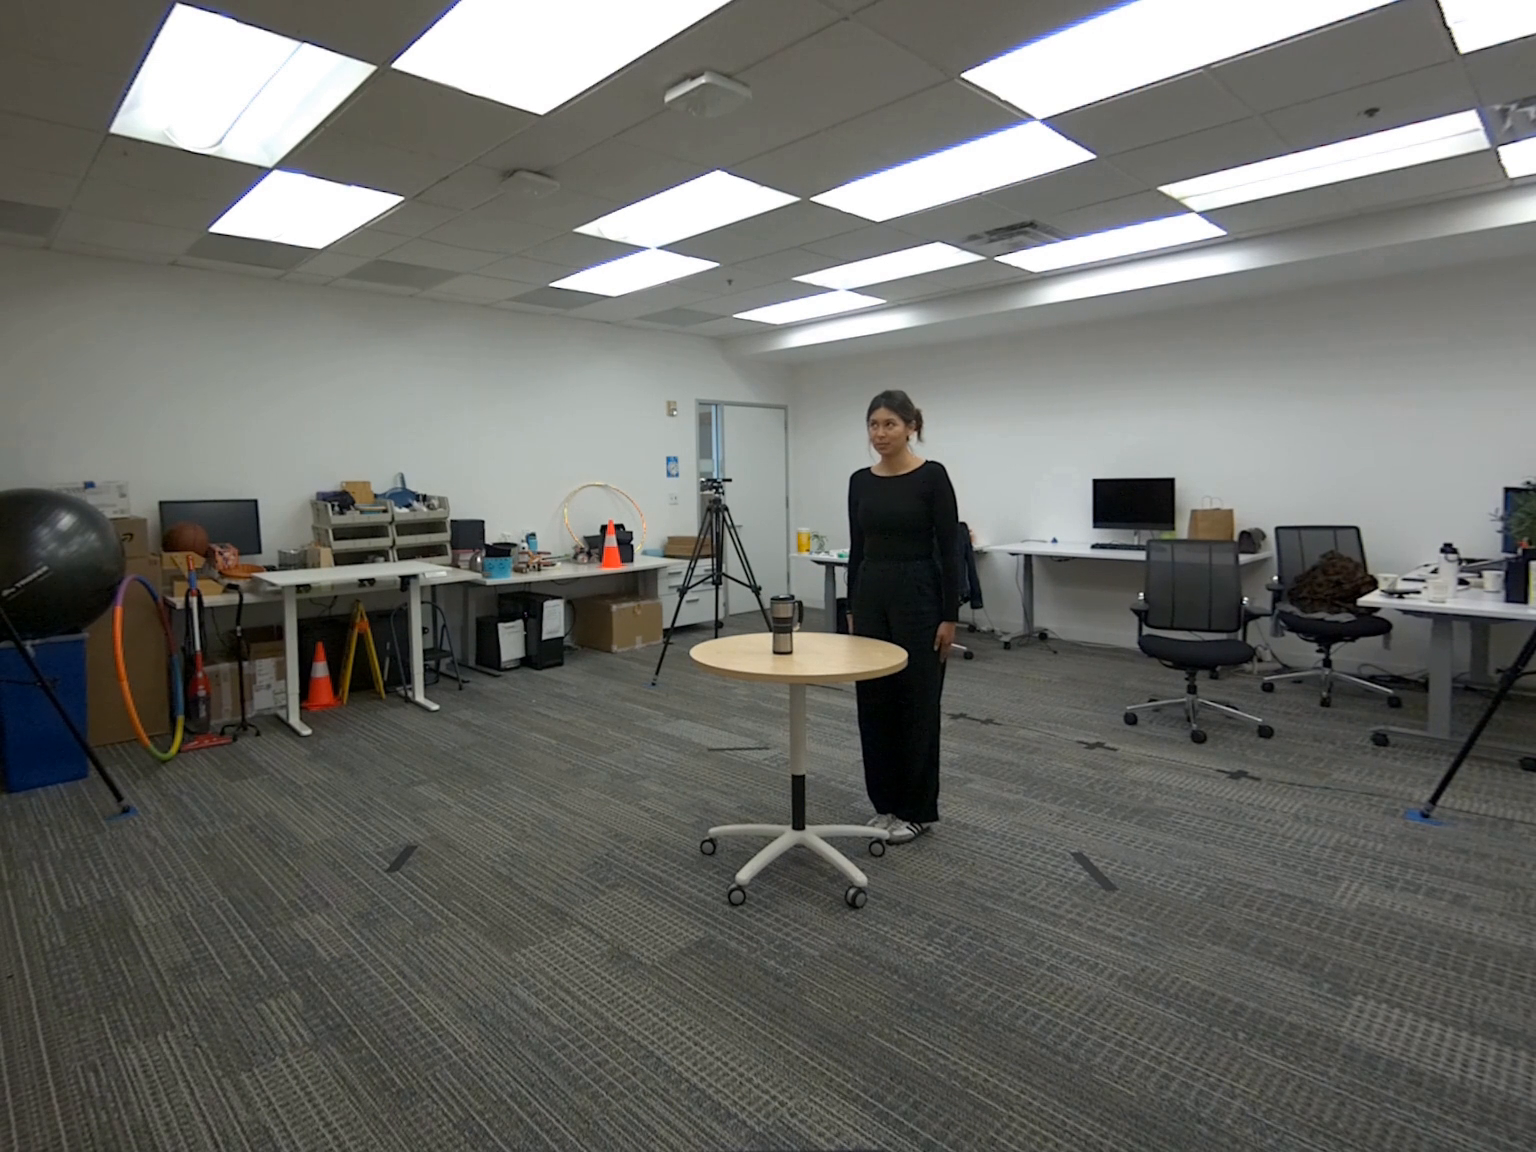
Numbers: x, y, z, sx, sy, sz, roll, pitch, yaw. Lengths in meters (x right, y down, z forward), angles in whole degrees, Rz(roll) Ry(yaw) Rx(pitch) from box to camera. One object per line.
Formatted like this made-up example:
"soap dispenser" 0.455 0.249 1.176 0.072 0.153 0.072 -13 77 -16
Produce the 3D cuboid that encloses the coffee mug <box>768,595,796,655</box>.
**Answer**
"coffee mug" 0.075 0.173 2.984 0.124 0.203 0.086 -1 0 14
